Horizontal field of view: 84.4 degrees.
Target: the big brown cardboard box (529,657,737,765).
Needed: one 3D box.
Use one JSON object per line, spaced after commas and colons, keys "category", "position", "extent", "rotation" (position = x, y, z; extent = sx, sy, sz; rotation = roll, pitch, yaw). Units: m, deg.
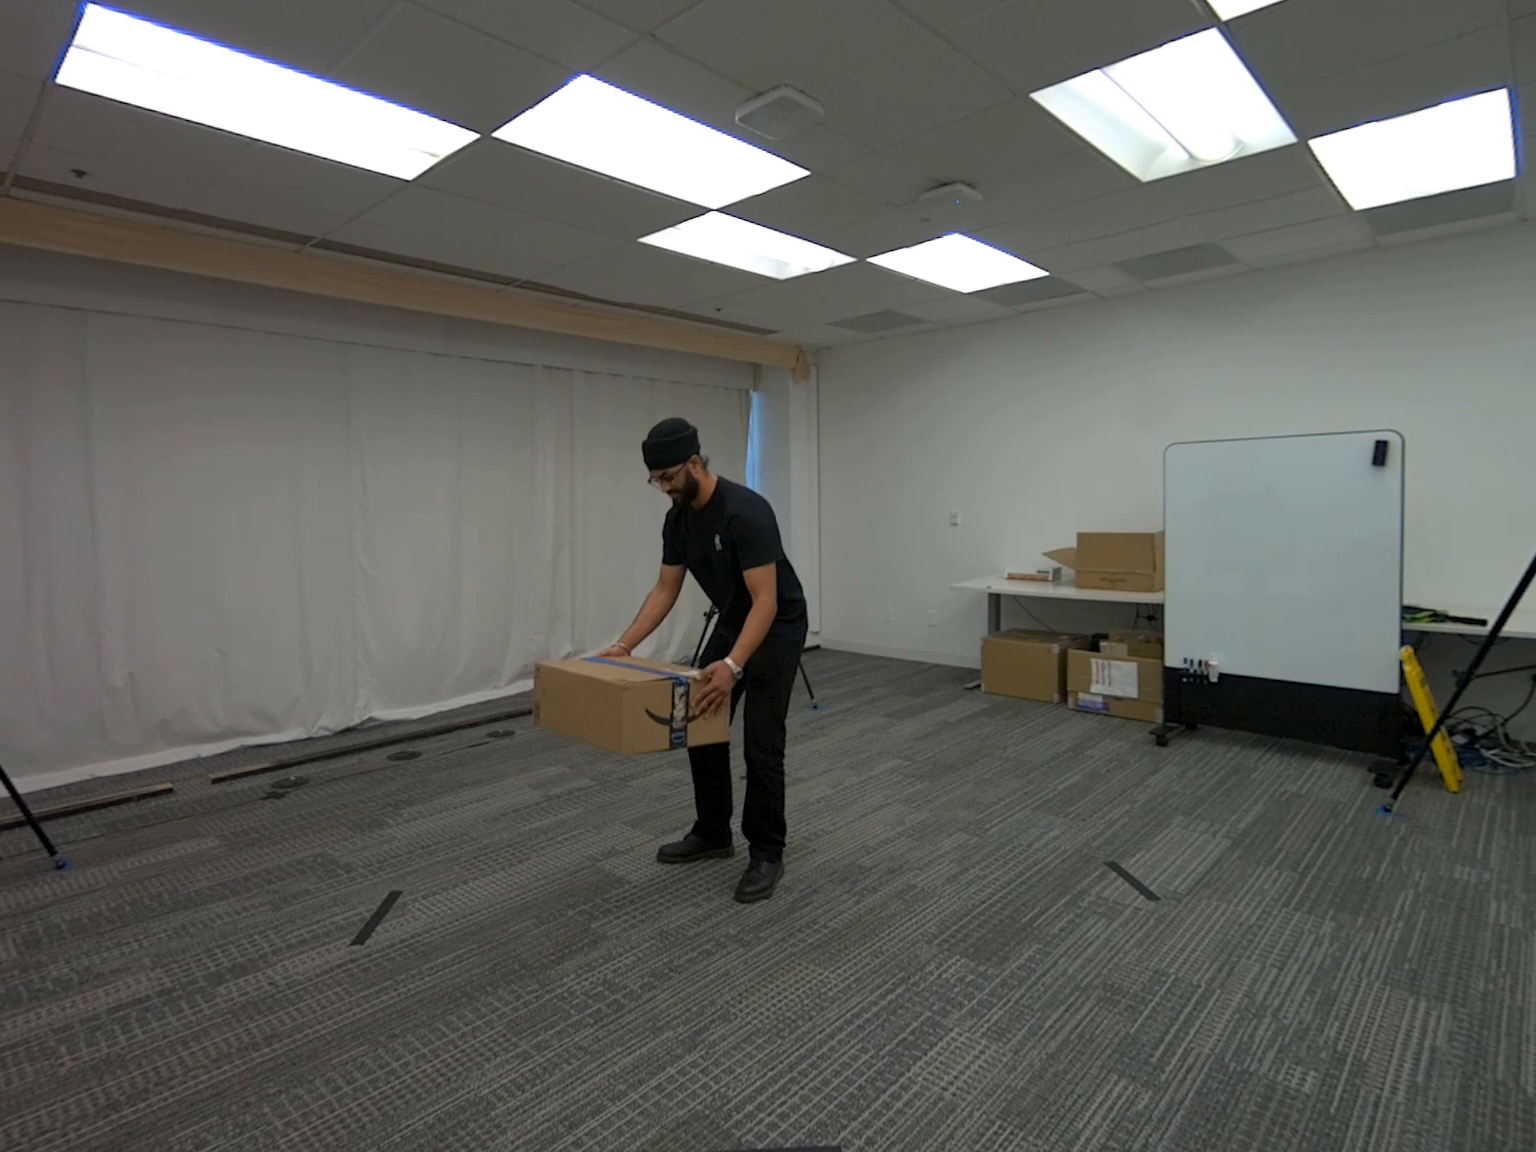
{"category": "big brown cardboard box", "position": [-0.461, 0.425, 2.815], "extent": [0.404, 0.233, 0.608], "rotation": [1, 0, -43]}
